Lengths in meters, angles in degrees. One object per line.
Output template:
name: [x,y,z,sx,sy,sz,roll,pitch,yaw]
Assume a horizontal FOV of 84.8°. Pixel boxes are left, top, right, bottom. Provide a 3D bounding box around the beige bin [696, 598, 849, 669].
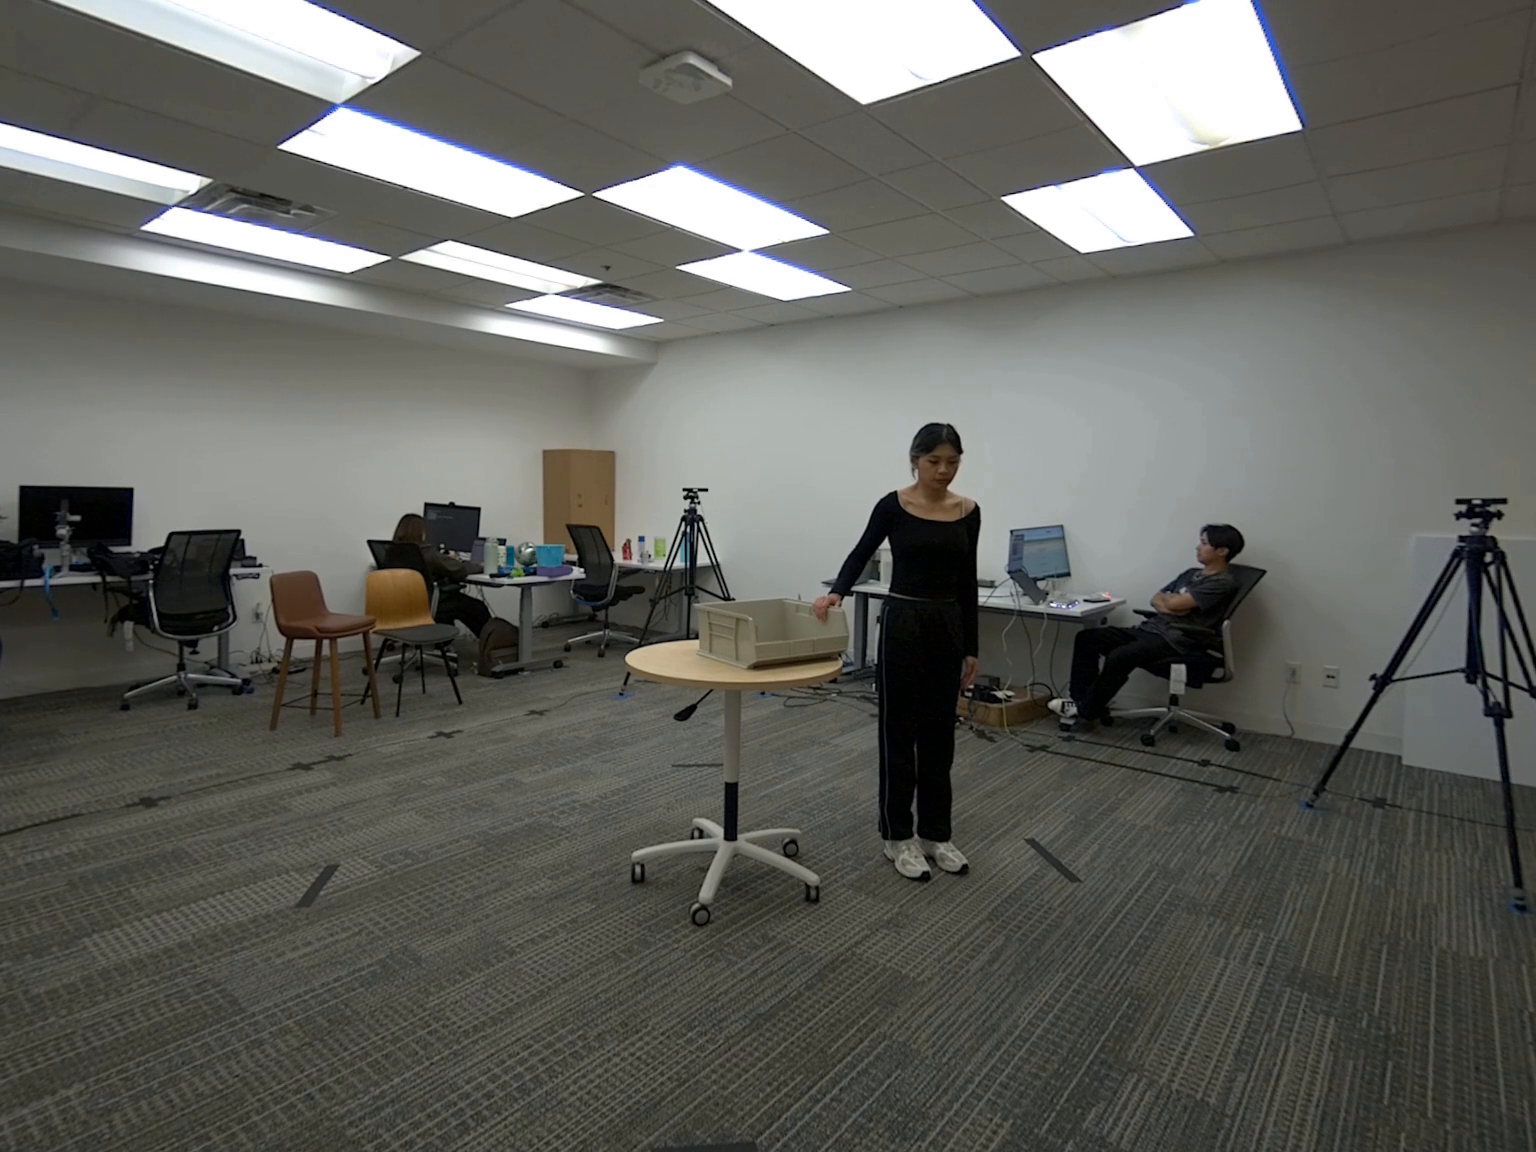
beige bin: [0.006,0.198,3.039,0.410,0.188,0.389,-3,6,-35]
